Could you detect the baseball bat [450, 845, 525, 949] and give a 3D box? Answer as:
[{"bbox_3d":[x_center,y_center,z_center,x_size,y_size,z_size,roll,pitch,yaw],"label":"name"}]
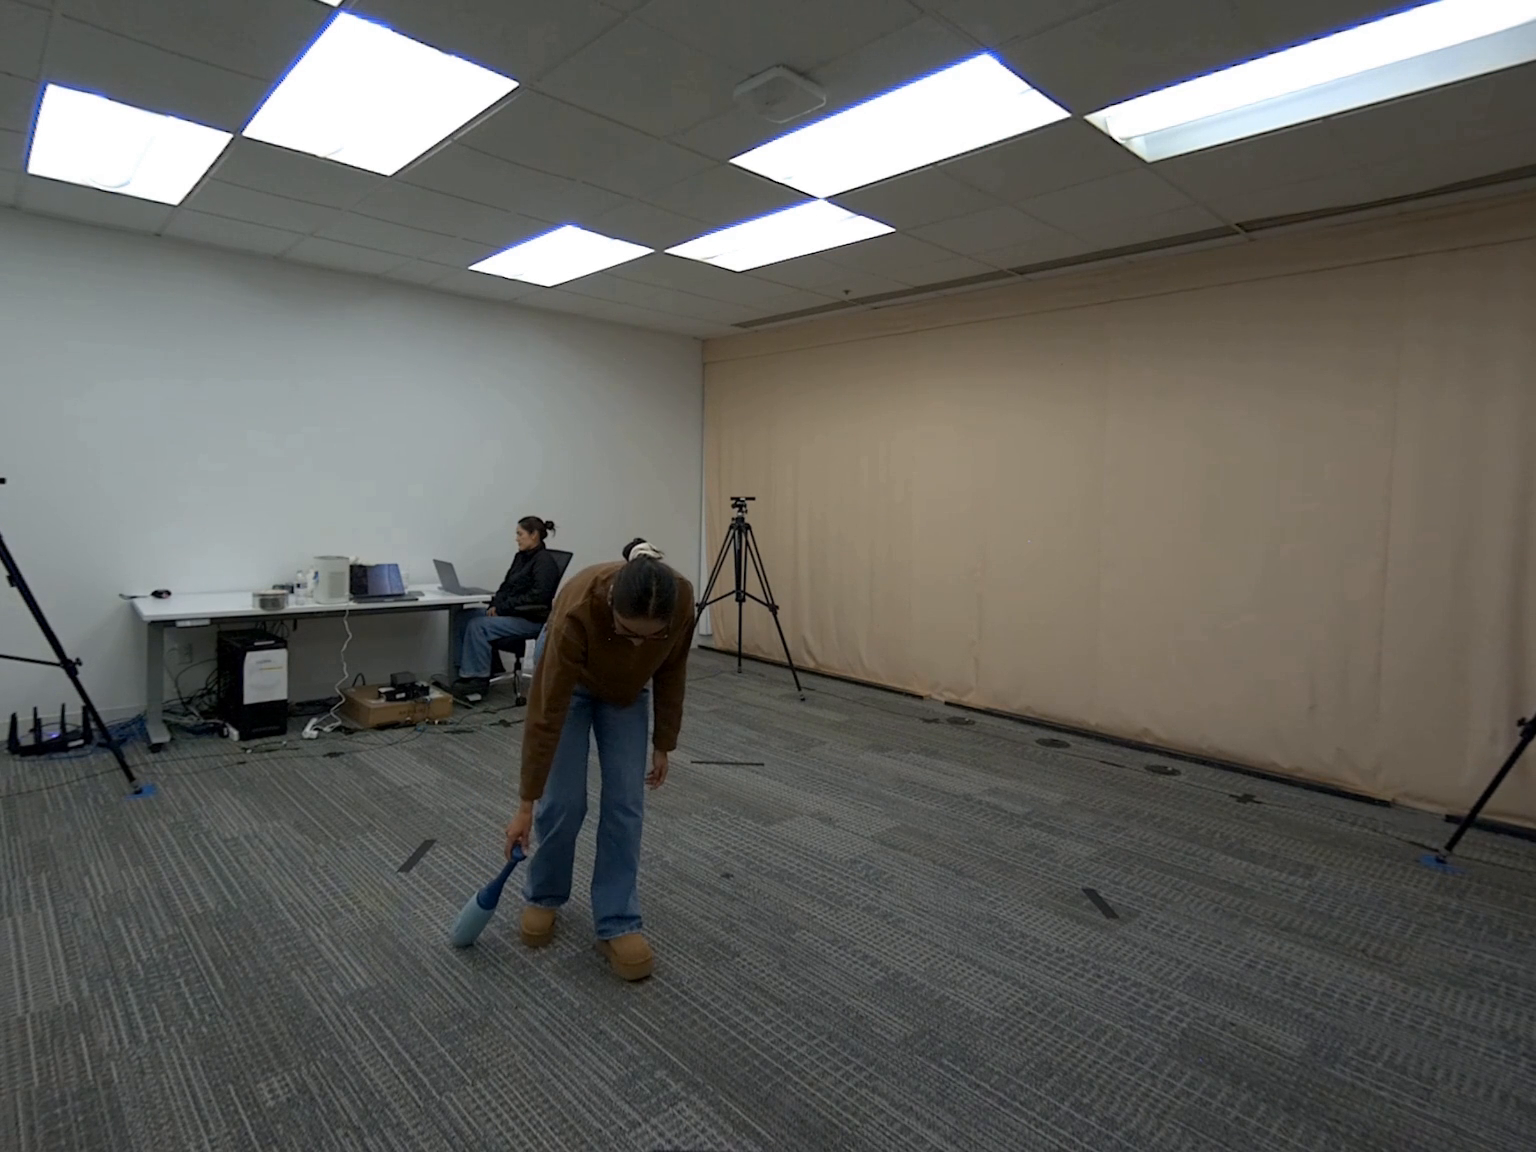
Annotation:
[{"bbox_3d":[-0.820,0.942,2.457,0.087,0.541,0.091,21,39,-20],"label":"baseball bat"}]
